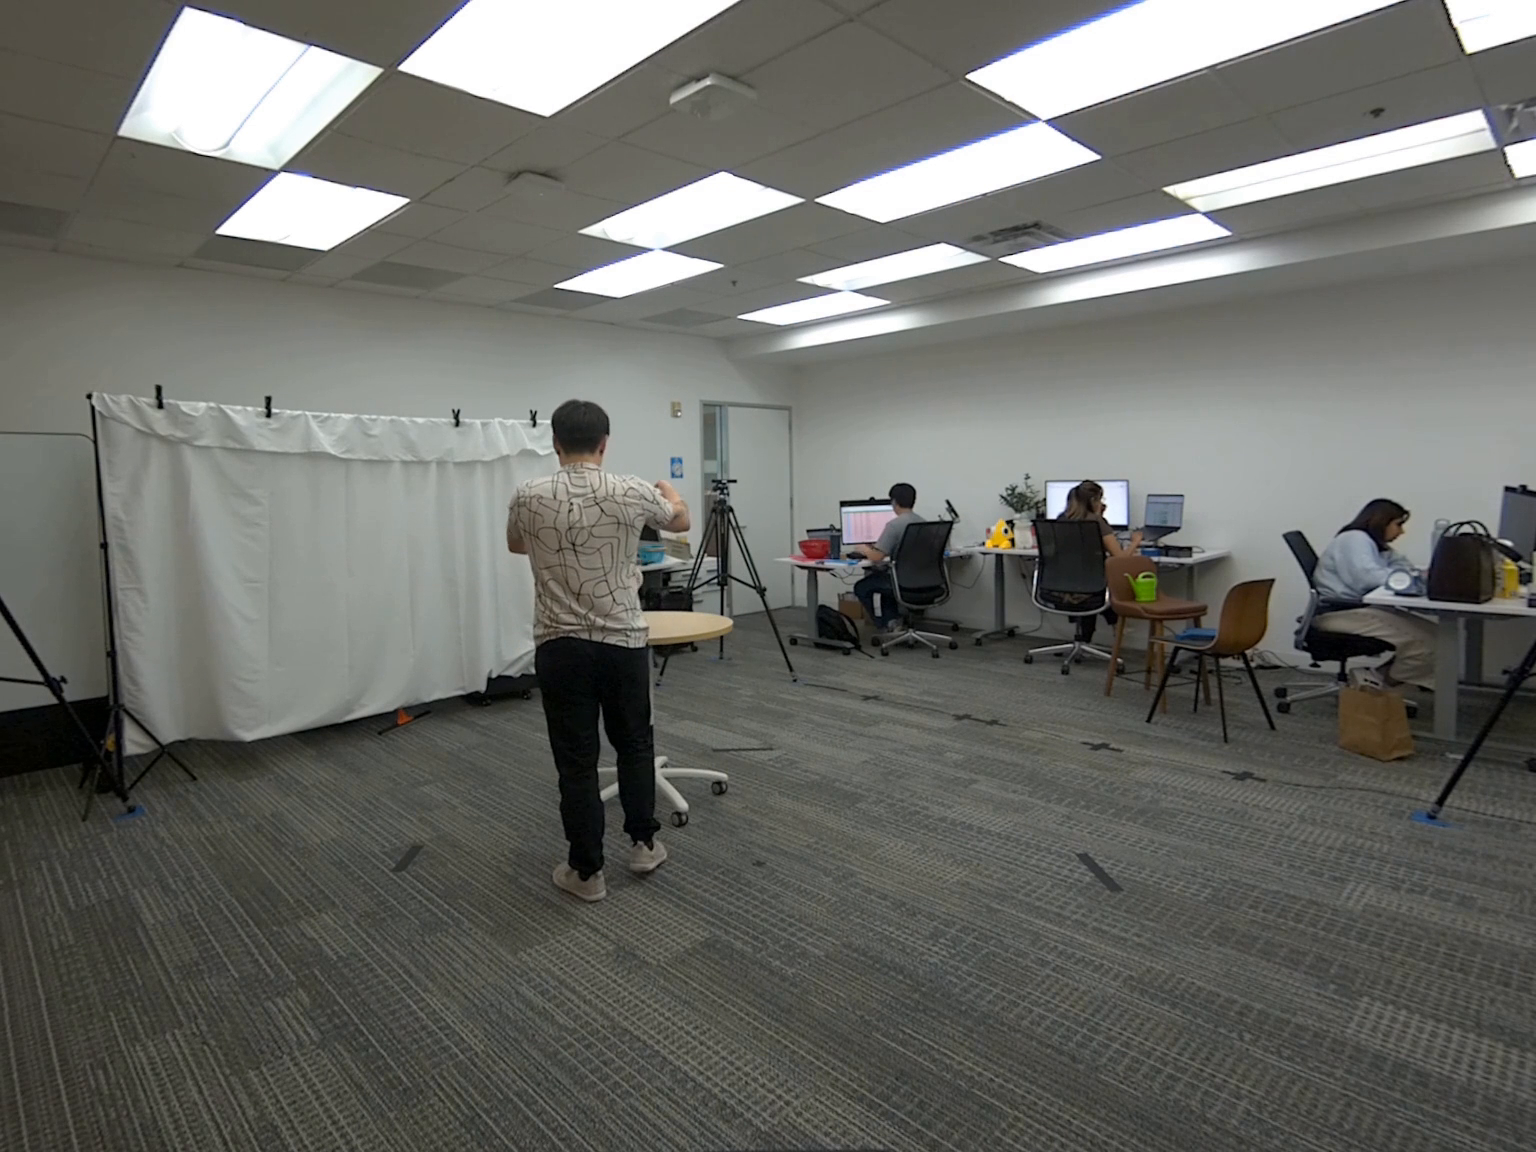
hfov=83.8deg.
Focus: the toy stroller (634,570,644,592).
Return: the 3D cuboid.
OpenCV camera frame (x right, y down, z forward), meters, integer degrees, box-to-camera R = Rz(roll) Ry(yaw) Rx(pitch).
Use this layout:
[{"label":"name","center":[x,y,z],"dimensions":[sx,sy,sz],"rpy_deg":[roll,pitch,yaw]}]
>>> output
[{"label":"toy stroller","center":[-0.634,-0.126,3.381],"dimensions":[0.342,0.531,0.283],"rpy_deg":[14,11,0]}]
